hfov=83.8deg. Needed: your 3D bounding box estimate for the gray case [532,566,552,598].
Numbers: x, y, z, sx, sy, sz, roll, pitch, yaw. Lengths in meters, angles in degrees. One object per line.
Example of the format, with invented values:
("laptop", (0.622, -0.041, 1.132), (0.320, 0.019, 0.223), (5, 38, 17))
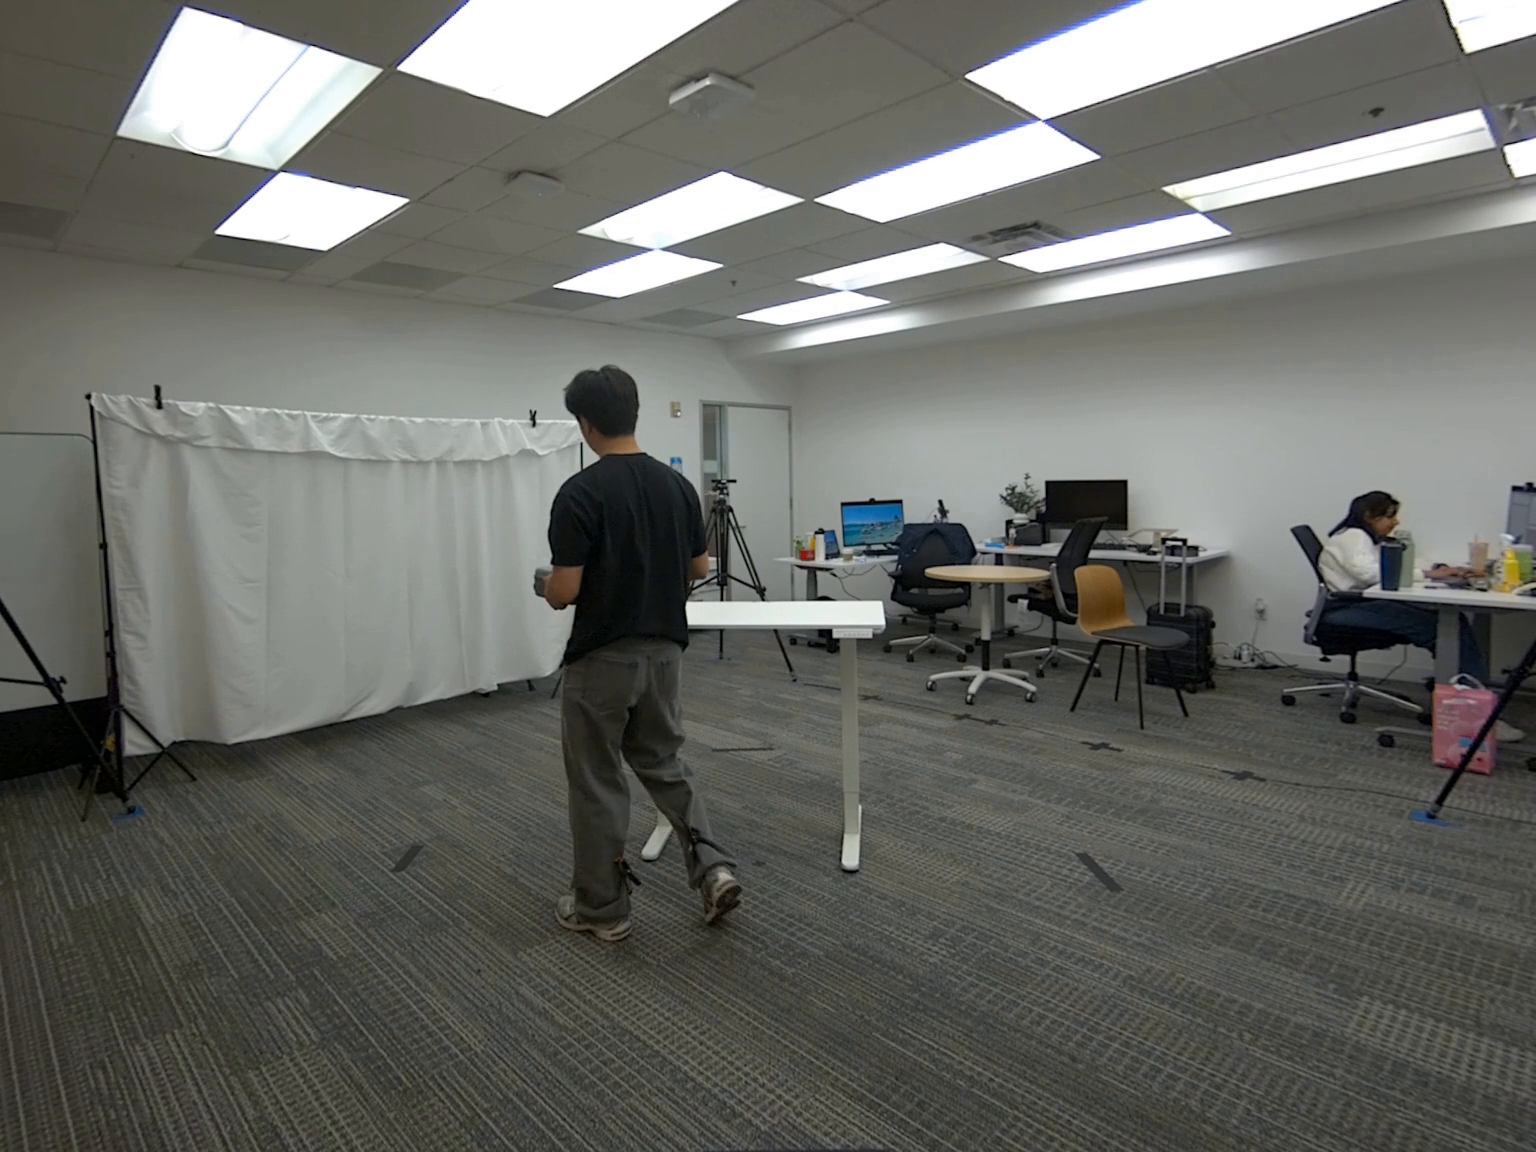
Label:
("gray case", (-0.603, 0.028, 2.819), (0.280, 0.102, 0.271), (-2, 7, -35))
